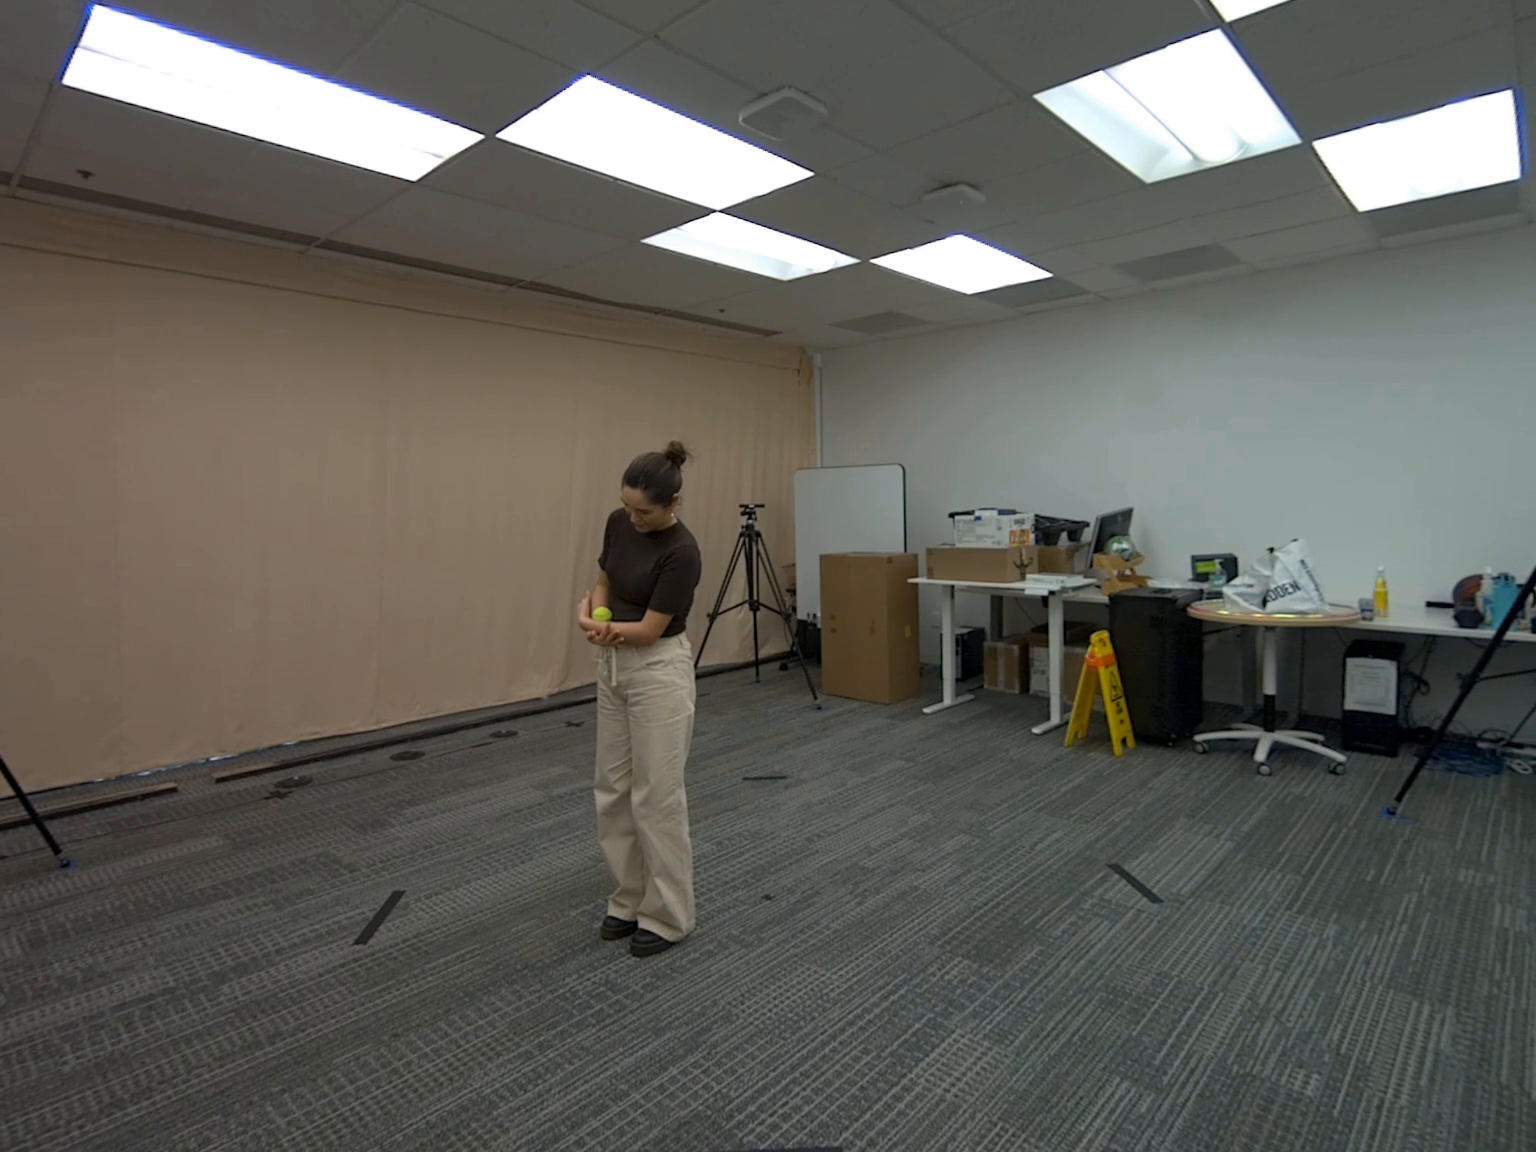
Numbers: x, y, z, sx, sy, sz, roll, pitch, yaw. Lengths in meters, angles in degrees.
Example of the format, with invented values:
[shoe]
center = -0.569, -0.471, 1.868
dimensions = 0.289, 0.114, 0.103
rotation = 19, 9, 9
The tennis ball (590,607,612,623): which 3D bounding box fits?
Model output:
[tennis ball]
center = -0.535, 0.132, 2.743
dimensions = 0.066, 0.066, 0.067
rotation = -1, 4, -2
